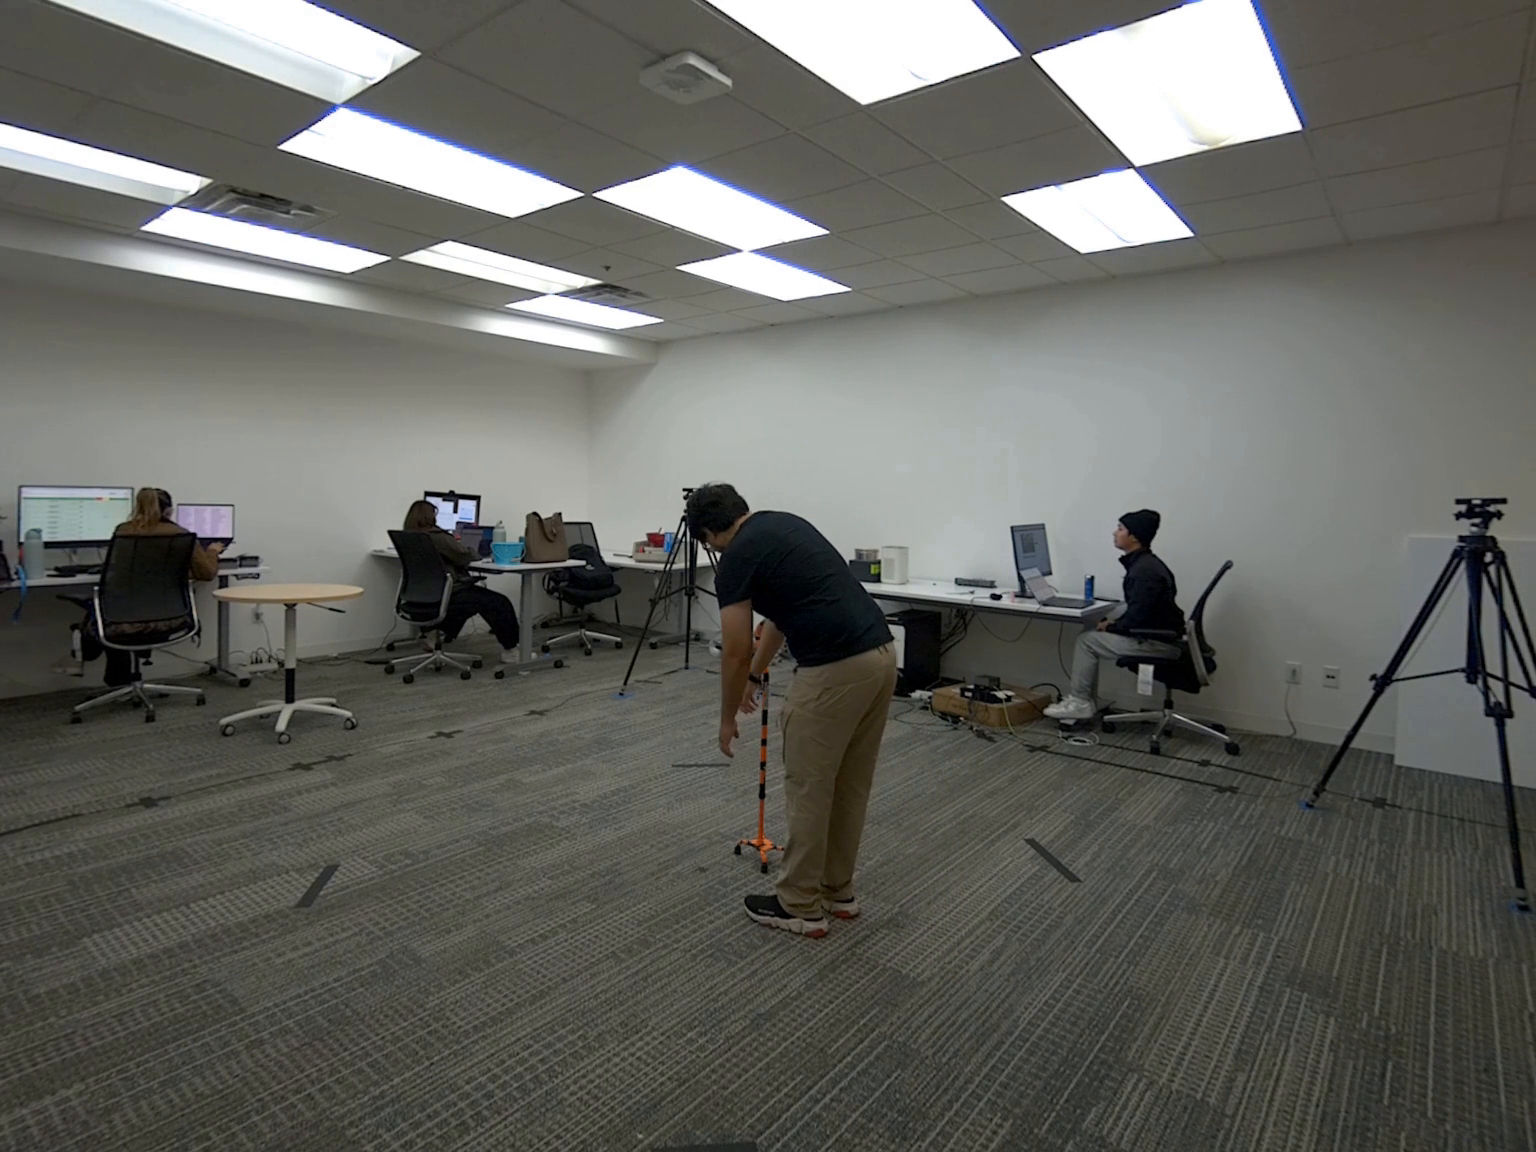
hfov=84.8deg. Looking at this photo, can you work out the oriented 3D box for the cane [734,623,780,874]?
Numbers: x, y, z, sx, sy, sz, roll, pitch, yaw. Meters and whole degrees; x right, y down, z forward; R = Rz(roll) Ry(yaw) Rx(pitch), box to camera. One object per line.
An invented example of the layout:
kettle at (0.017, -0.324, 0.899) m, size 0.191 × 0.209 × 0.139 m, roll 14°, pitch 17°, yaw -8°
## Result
cane at (-0.006, 0.616, 3.179) m, size 0.147 × 0.905 × 0.213 m, roll 0°, pitch 3°, yaw -32°
